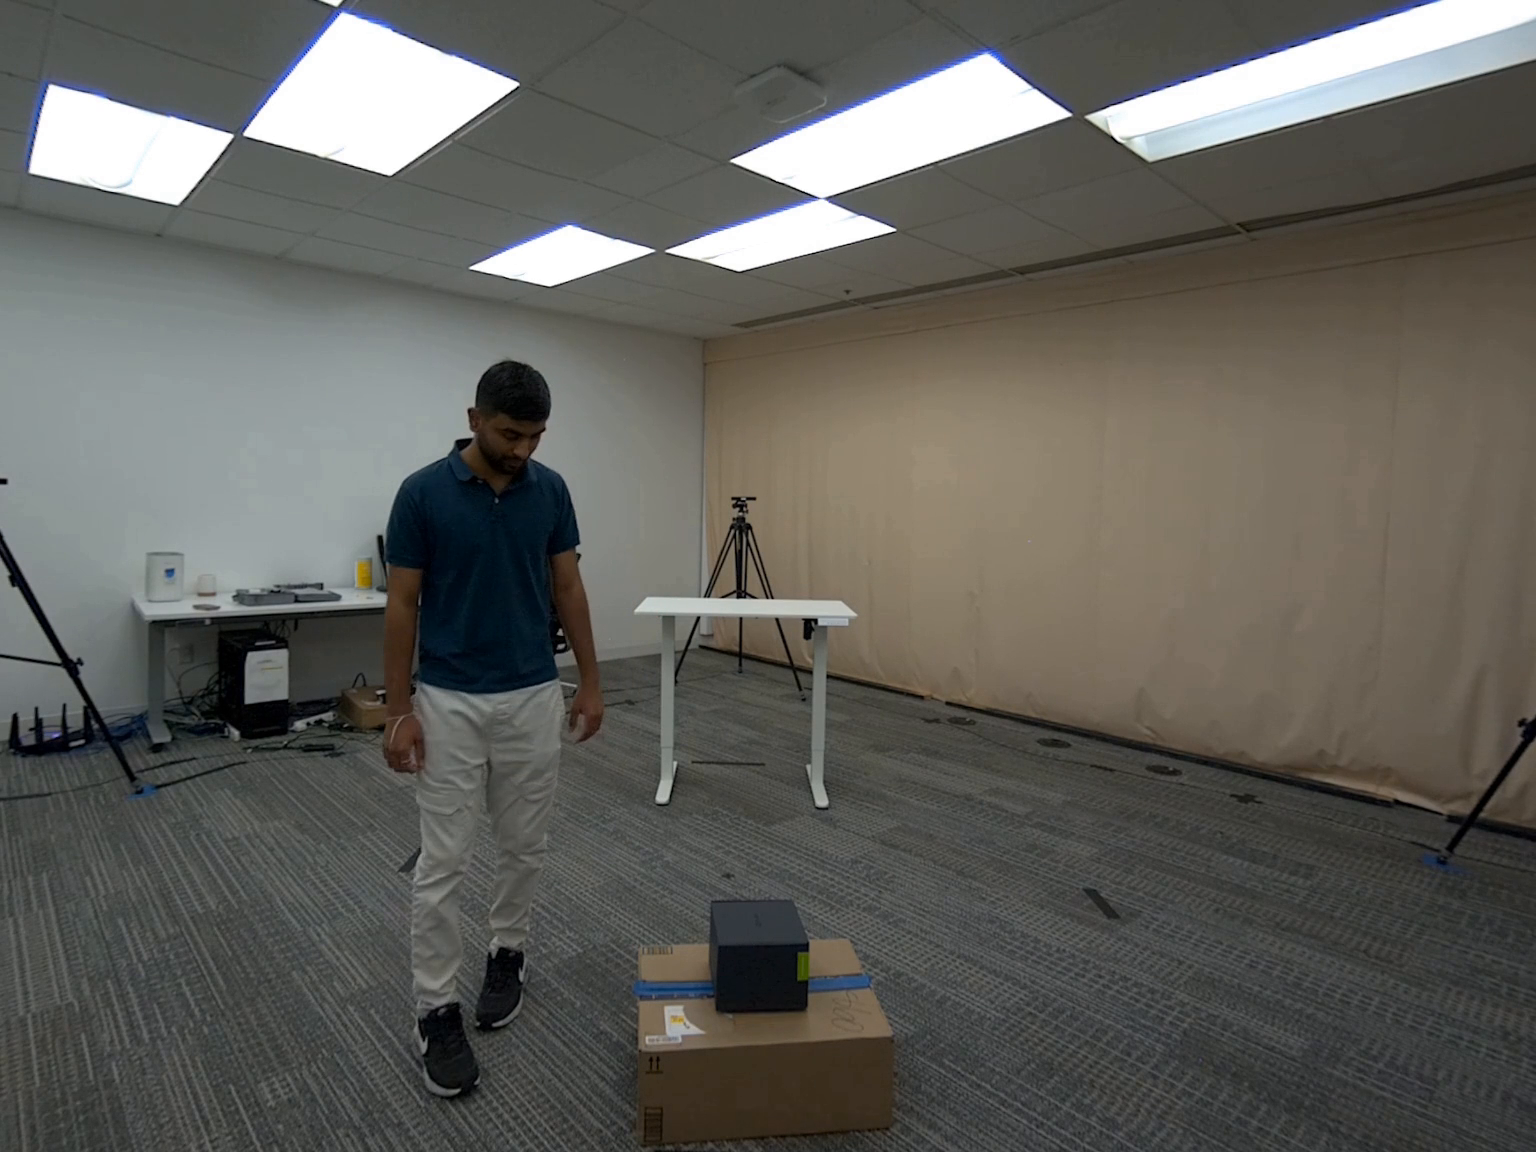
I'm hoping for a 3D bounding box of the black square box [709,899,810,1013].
[{"bbox_3d":[-0.035,0.909,2.032,0.216,0.156,0.229,2,3,-7],"label":"black square box"}]
